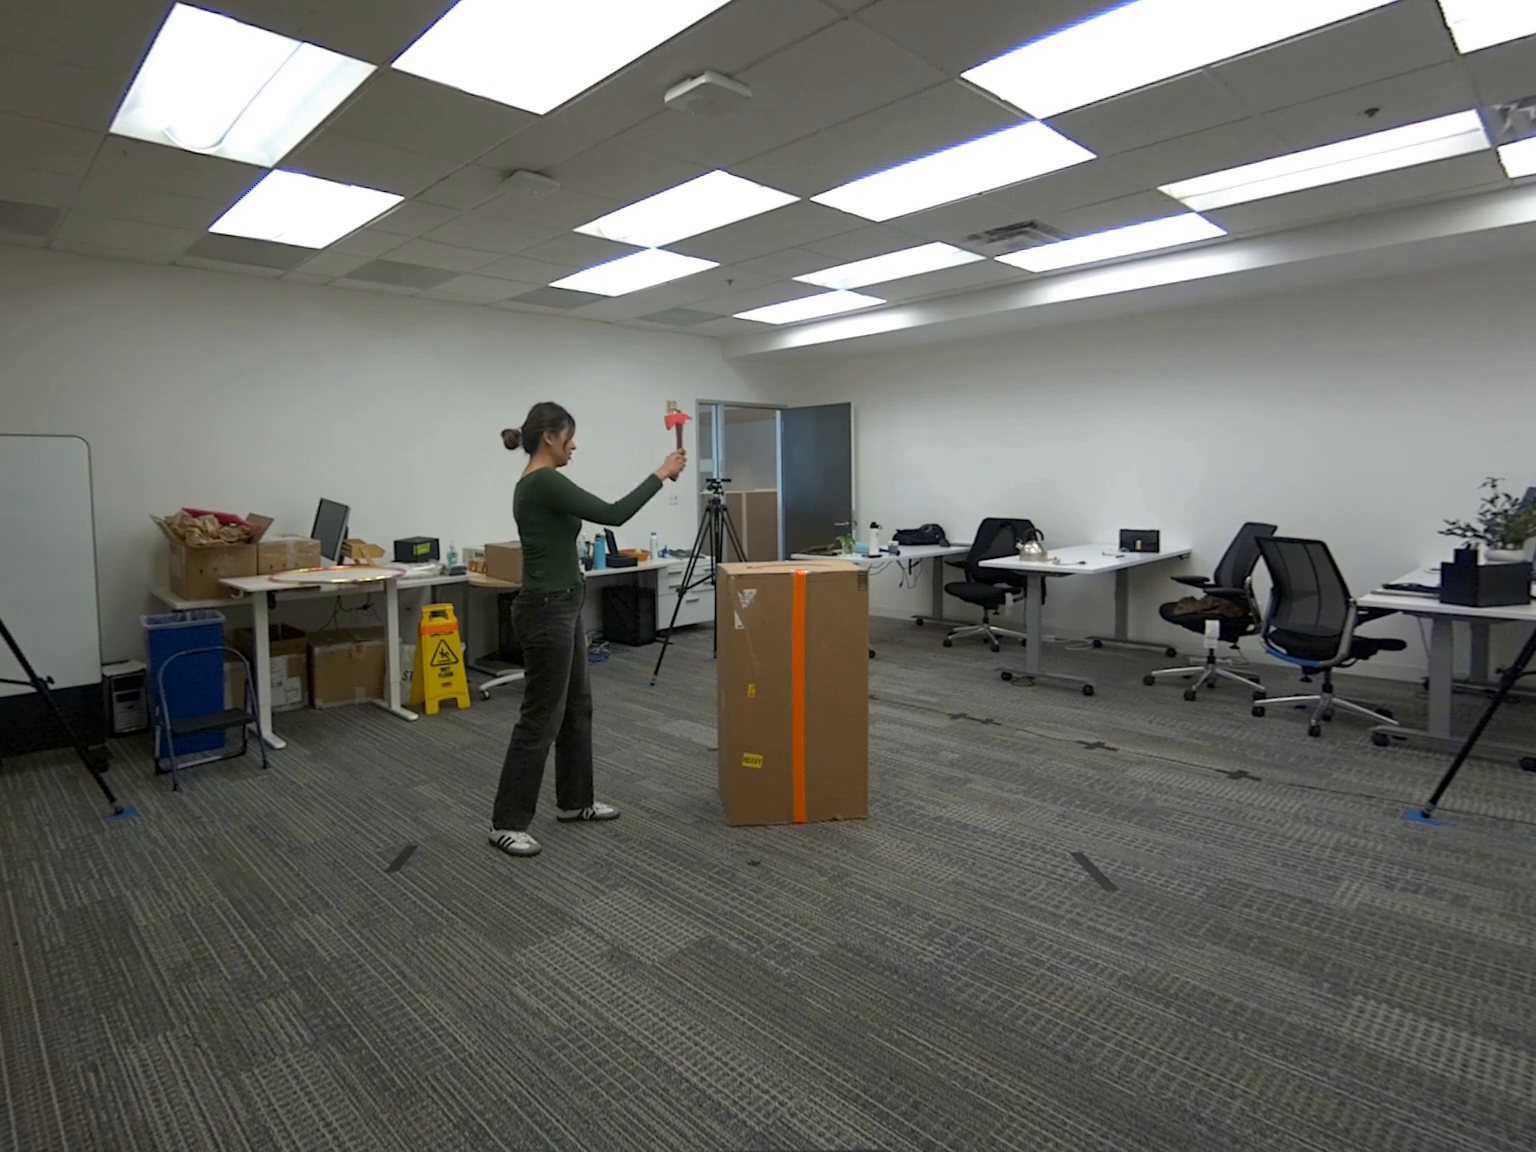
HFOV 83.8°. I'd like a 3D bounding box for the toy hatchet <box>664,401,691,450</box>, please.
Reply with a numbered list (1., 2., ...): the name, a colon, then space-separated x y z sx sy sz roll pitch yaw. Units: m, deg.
1. toy hatchet: -0.378 -0.489 3.257 0.126 0.272 0.030 21 -14 -42
